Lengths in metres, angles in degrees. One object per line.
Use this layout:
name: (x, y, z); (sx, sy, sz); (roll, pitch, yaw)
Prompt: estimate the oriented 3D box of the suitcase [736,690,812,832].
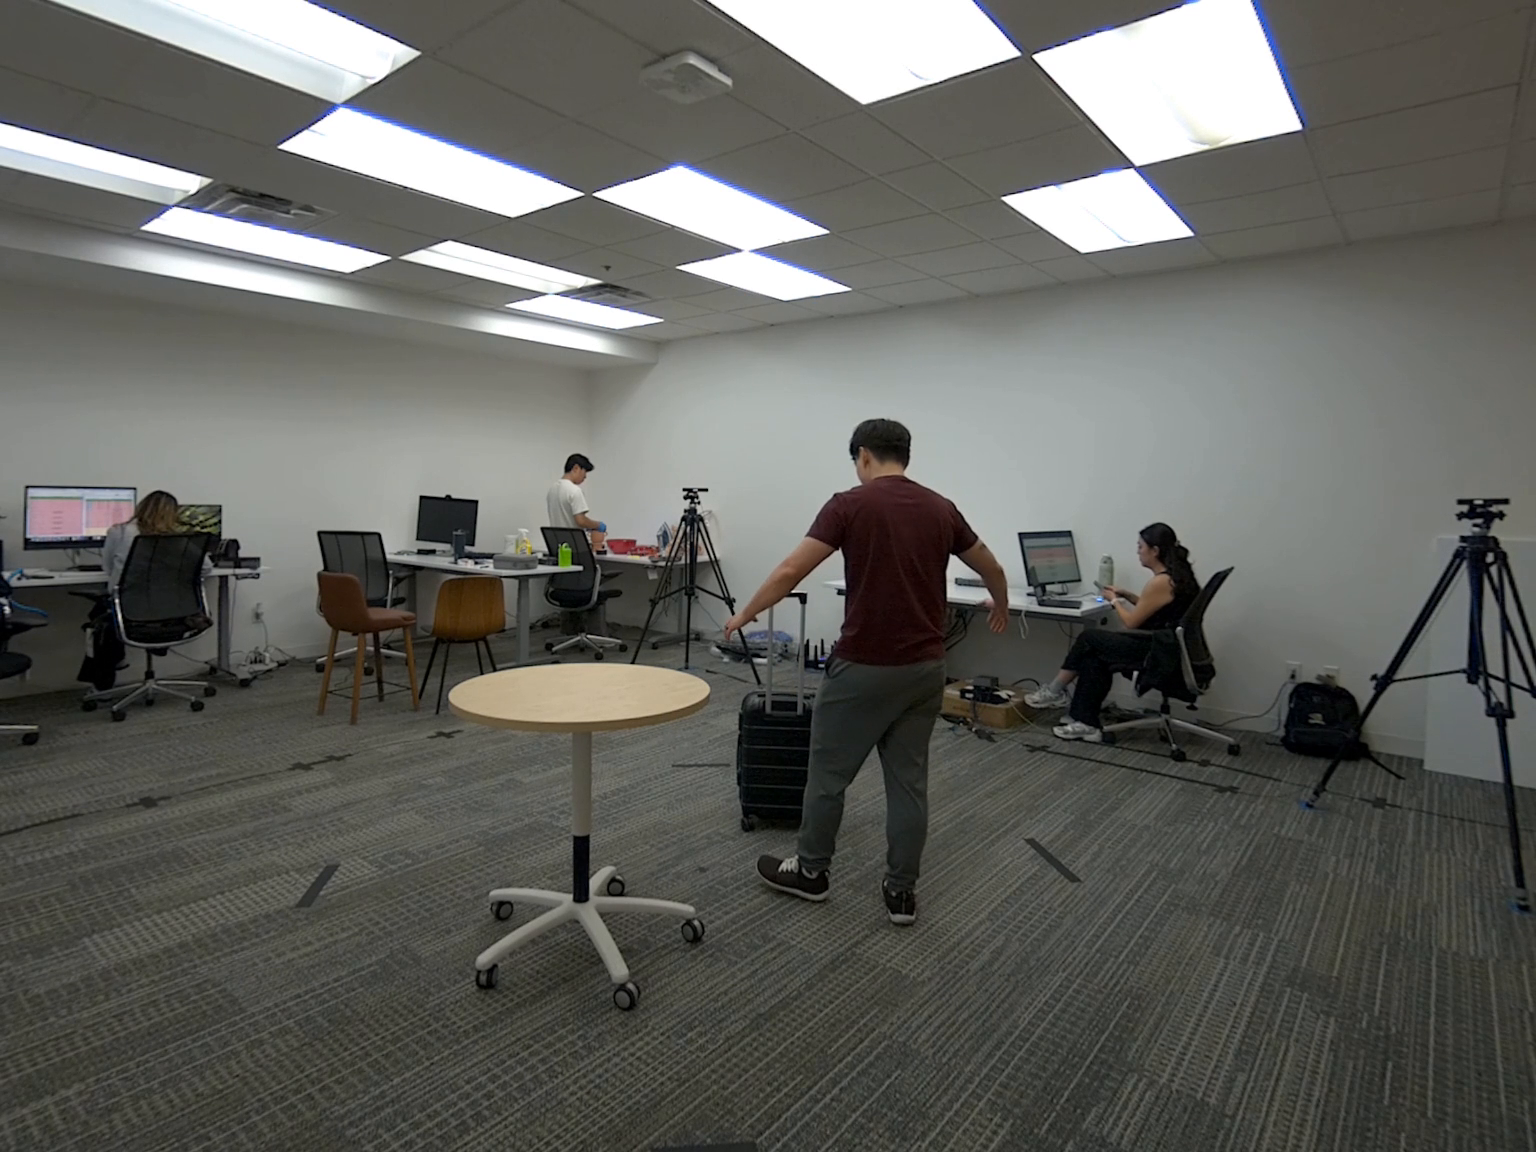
suitcase: (0.059, 0.552, 3.573); (0.386, 0.978, 0.256); (1, 1, 4)
